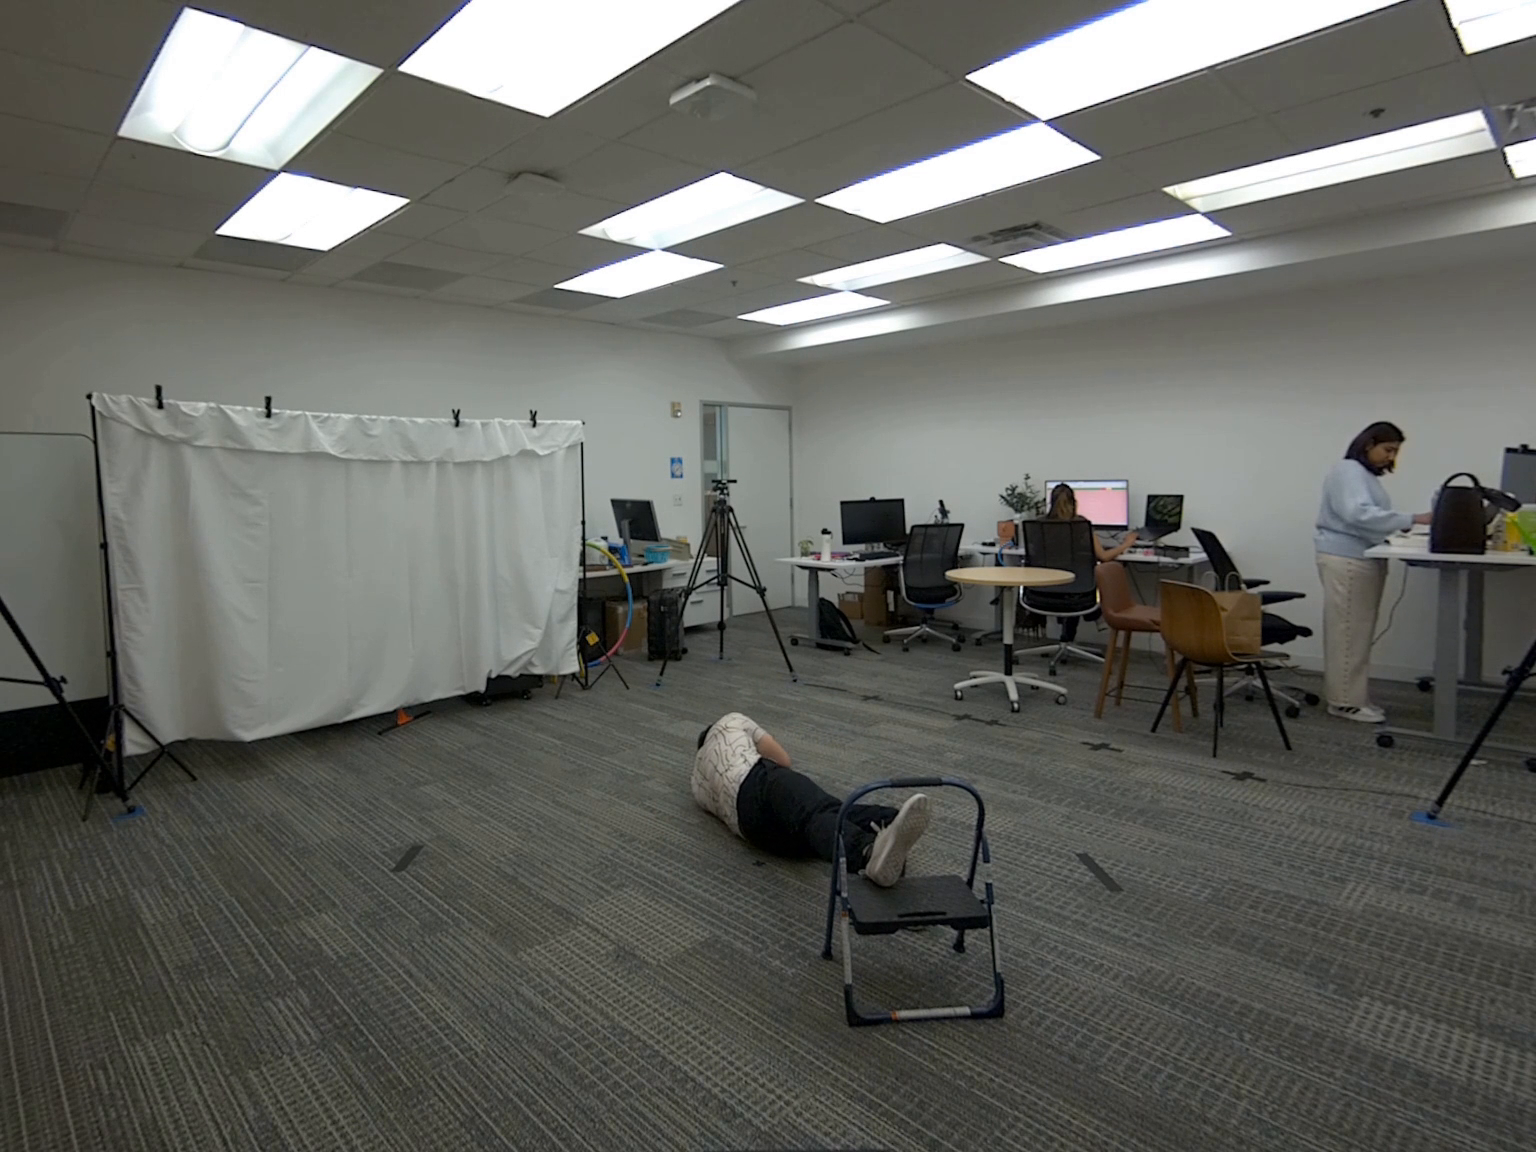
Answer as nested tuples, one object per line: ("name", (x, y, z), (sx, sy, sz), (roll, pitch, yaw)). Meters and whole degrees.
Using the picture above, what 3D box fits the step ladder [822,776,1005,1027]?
("step ladder", (0.391, 0.832, 2.334), (0.428, 0.604, 0.352), (-2, 4, -6))
